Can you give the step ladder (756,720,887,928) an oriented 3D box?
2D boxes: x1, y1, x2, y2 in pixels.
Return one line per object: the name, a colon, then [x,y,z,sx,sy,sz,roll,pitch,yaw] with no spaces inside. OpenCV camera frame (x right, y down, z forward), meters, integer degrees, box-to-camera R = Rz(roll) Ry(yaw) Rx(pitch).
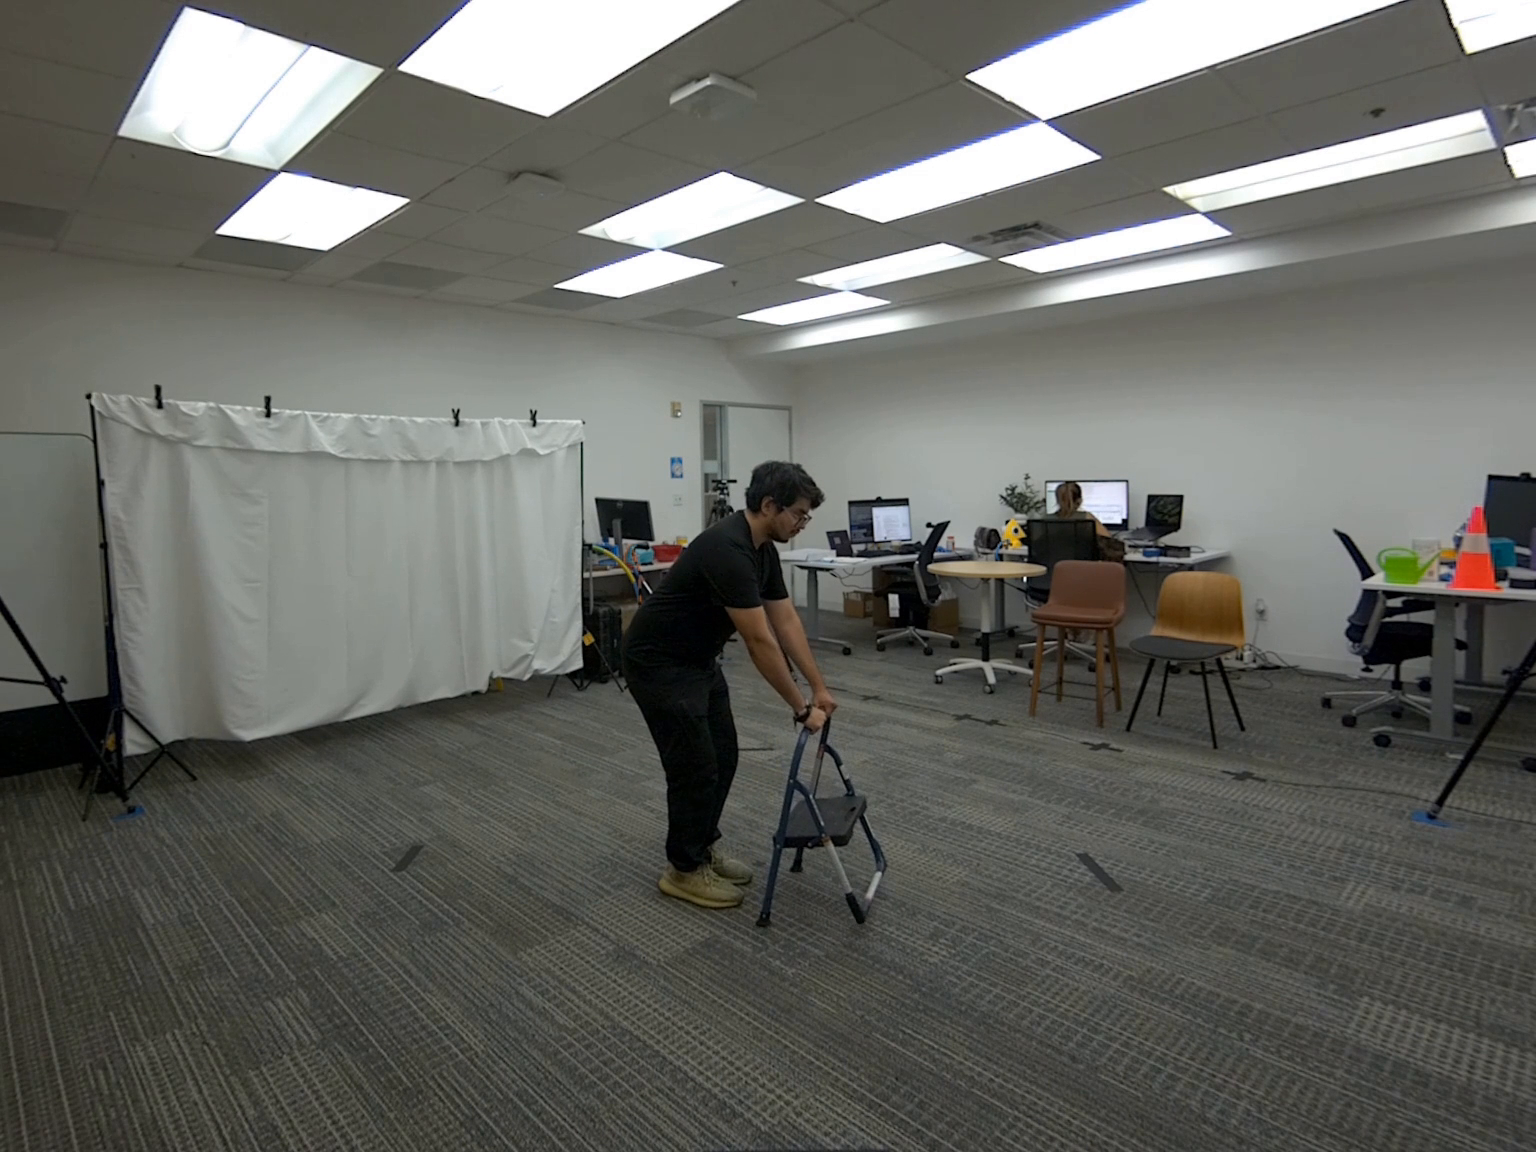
step ladder: [0.147,0.748,2.806,0.355,0.606,0.424,-9,1,20]
